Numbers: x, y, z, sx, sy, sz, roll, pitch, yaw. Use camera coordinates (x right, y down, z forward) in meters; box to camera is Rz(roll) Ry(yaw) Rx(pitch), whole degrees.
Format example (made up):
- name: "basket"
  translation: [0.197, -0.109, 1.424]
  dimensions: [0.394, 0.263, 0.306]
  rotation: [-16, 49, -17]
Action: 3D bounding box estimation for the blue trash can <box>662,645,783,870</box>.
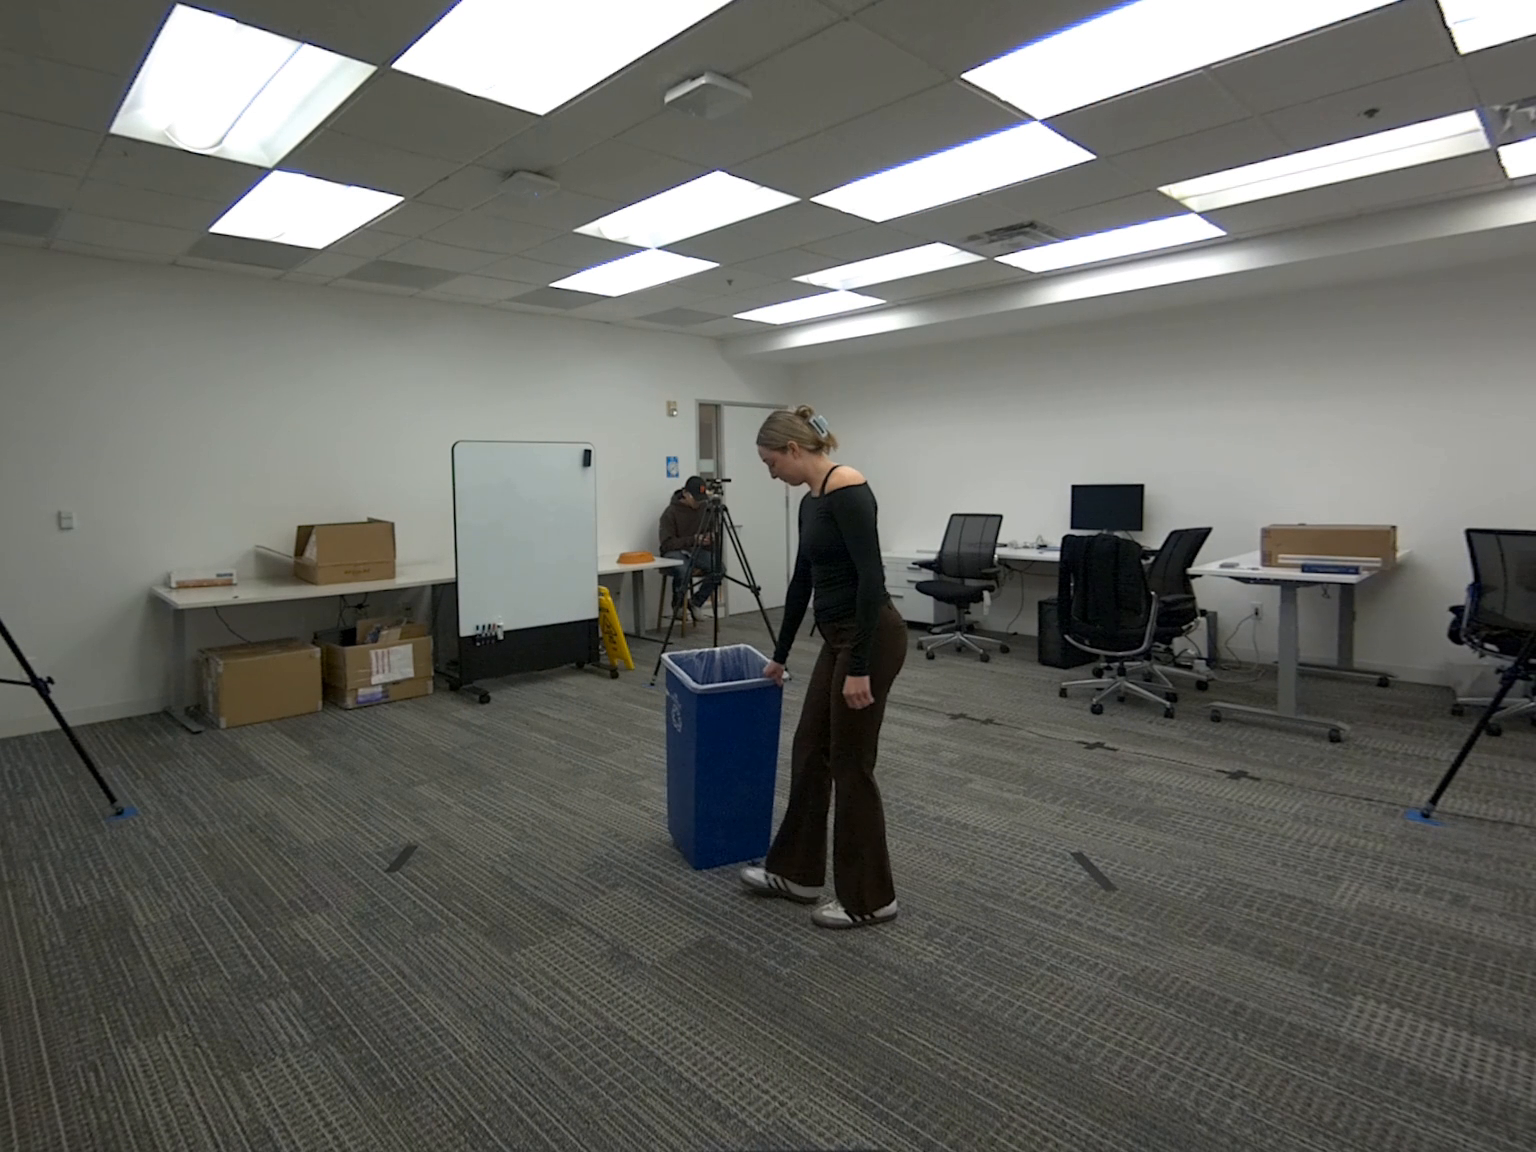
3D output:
- name: "blue trash can"
  translation: [-0.171, 0.665, 3.168]
  dimensions: [0.370, 0.706, 0.386]
  rotation: [-4, 13, -25]
